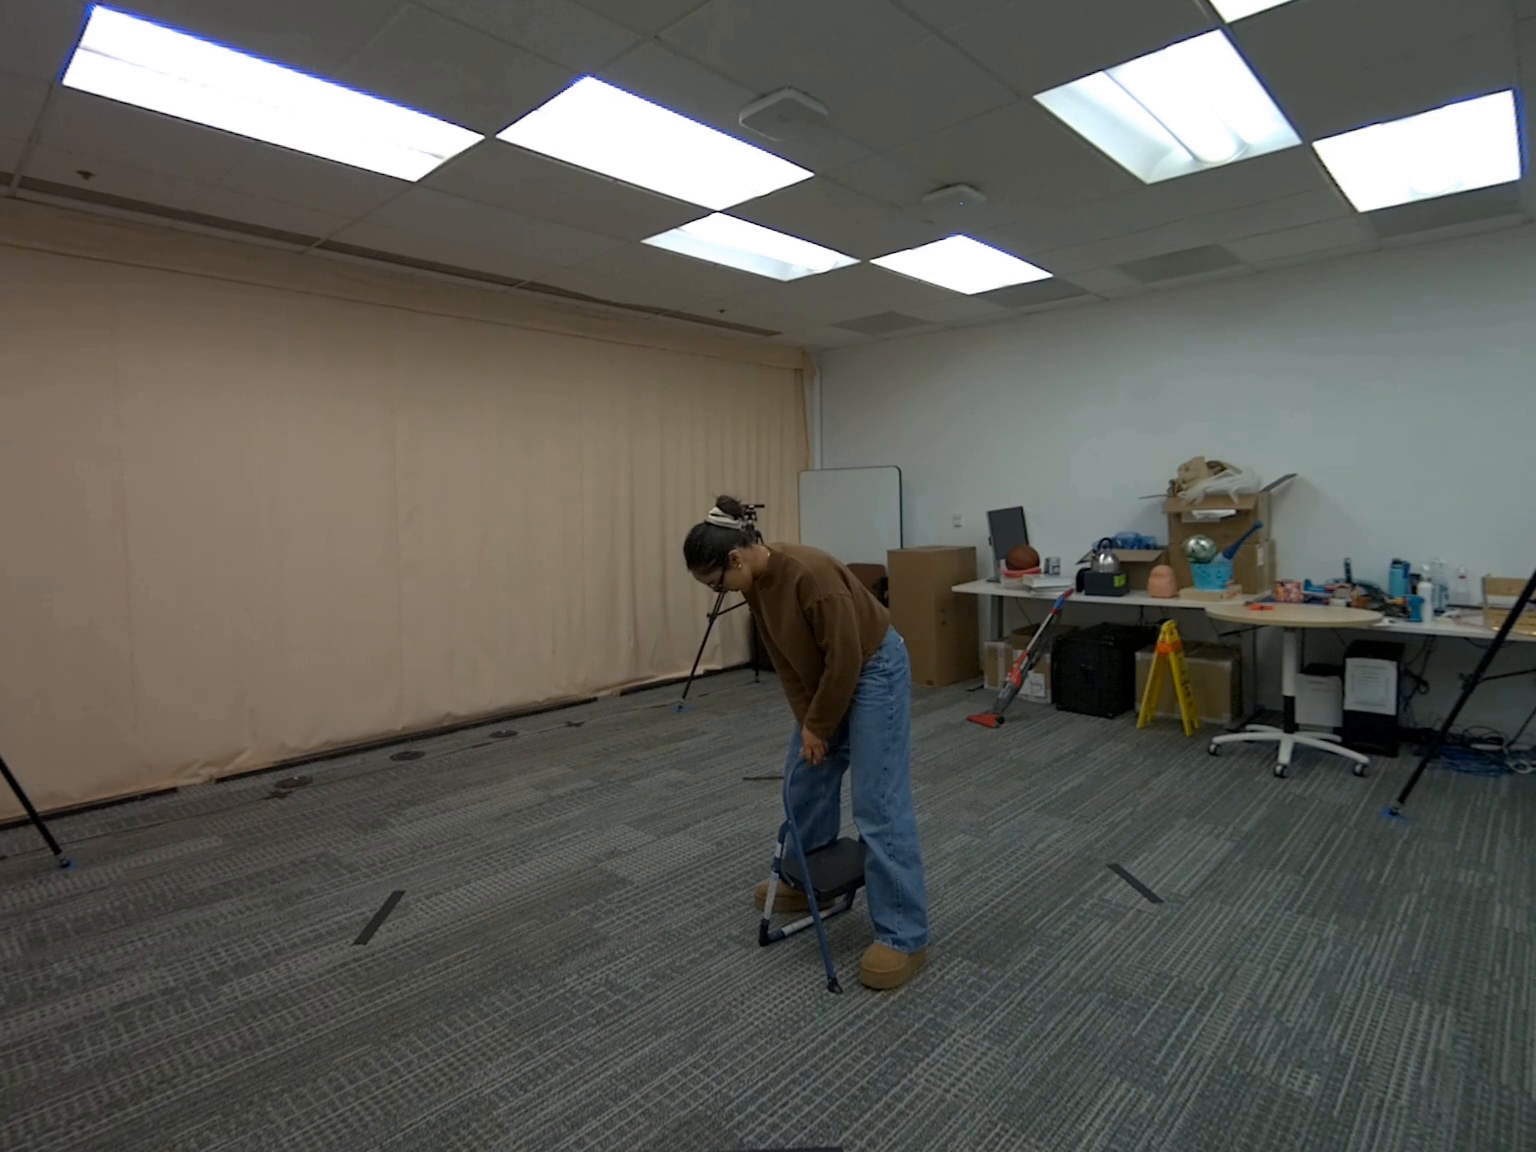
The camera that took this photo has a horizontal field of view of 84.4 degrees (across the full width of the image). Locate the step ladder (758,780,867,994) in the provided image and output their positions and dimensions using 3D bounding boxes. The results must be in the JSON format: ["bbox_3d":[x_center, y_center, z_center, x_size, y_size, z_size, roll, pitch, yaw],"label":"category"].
[{"bbox_3d":[0.232,0.867,2.637,0.418,0.605,0.361,-4,4,-40],"label":"step ladder"}]
